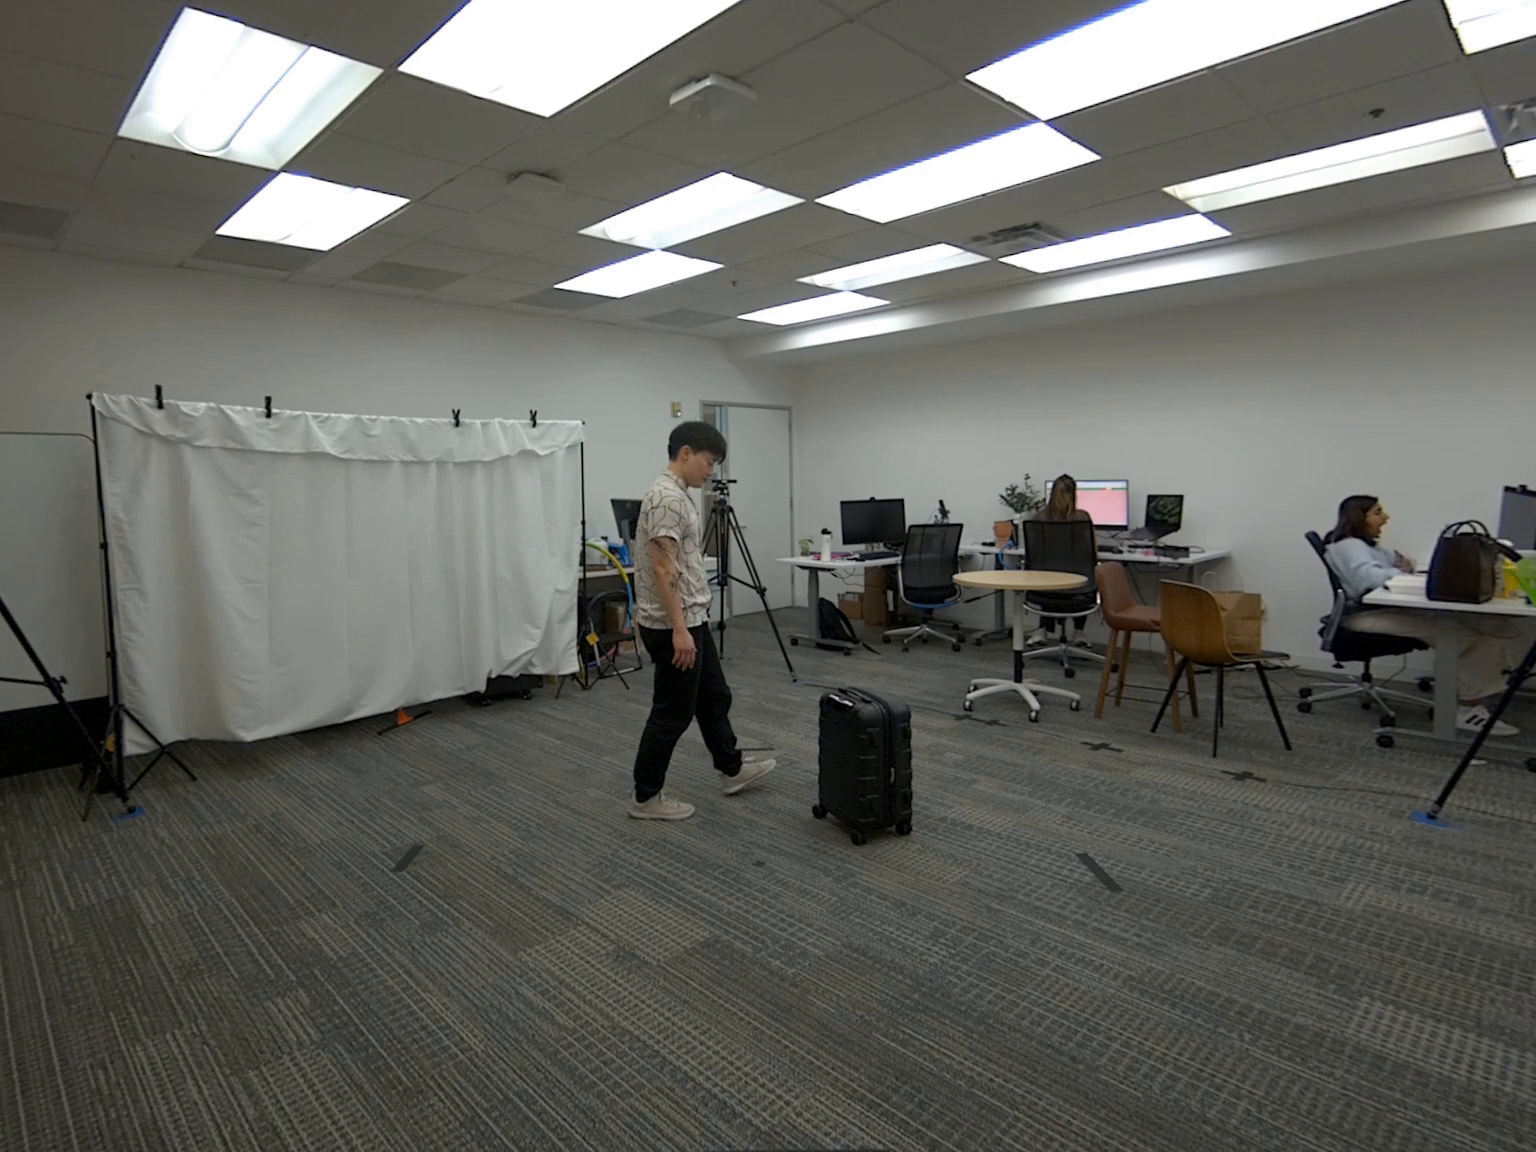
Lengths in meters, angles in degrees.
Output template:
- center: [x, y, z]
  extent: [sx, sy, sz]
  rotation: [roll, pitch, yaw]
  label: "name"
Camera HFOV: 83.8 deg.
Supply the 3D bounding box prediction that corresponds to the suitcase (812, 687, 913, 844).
- center: [0.390, 0.731, 3.408]
  extent: [0.243, 0.547, 0.384]
  rotation: [-2, 4, -24]
  label: "suitcase"
